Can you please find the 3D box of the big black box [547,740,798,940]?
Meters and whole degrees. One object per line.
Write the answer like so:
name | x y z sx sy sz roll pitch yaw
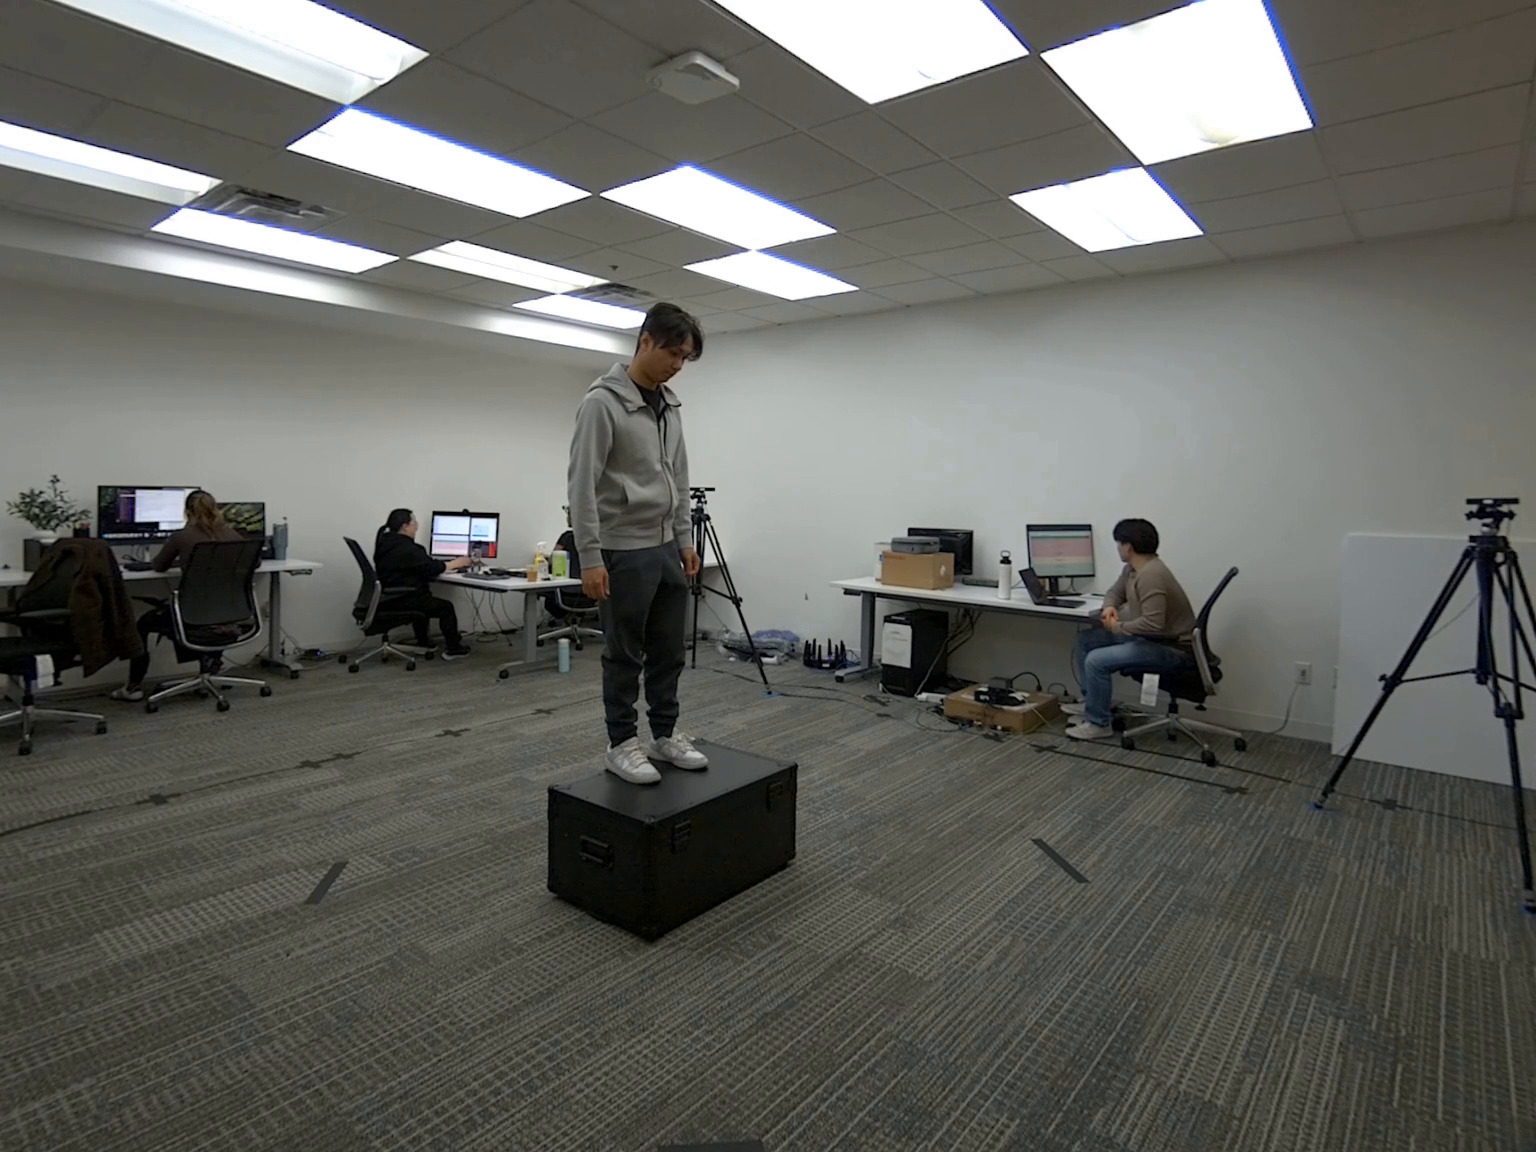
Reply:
big black box | -0.306 0.882 3.031 0.538 0.395 0.837 4 6 38
